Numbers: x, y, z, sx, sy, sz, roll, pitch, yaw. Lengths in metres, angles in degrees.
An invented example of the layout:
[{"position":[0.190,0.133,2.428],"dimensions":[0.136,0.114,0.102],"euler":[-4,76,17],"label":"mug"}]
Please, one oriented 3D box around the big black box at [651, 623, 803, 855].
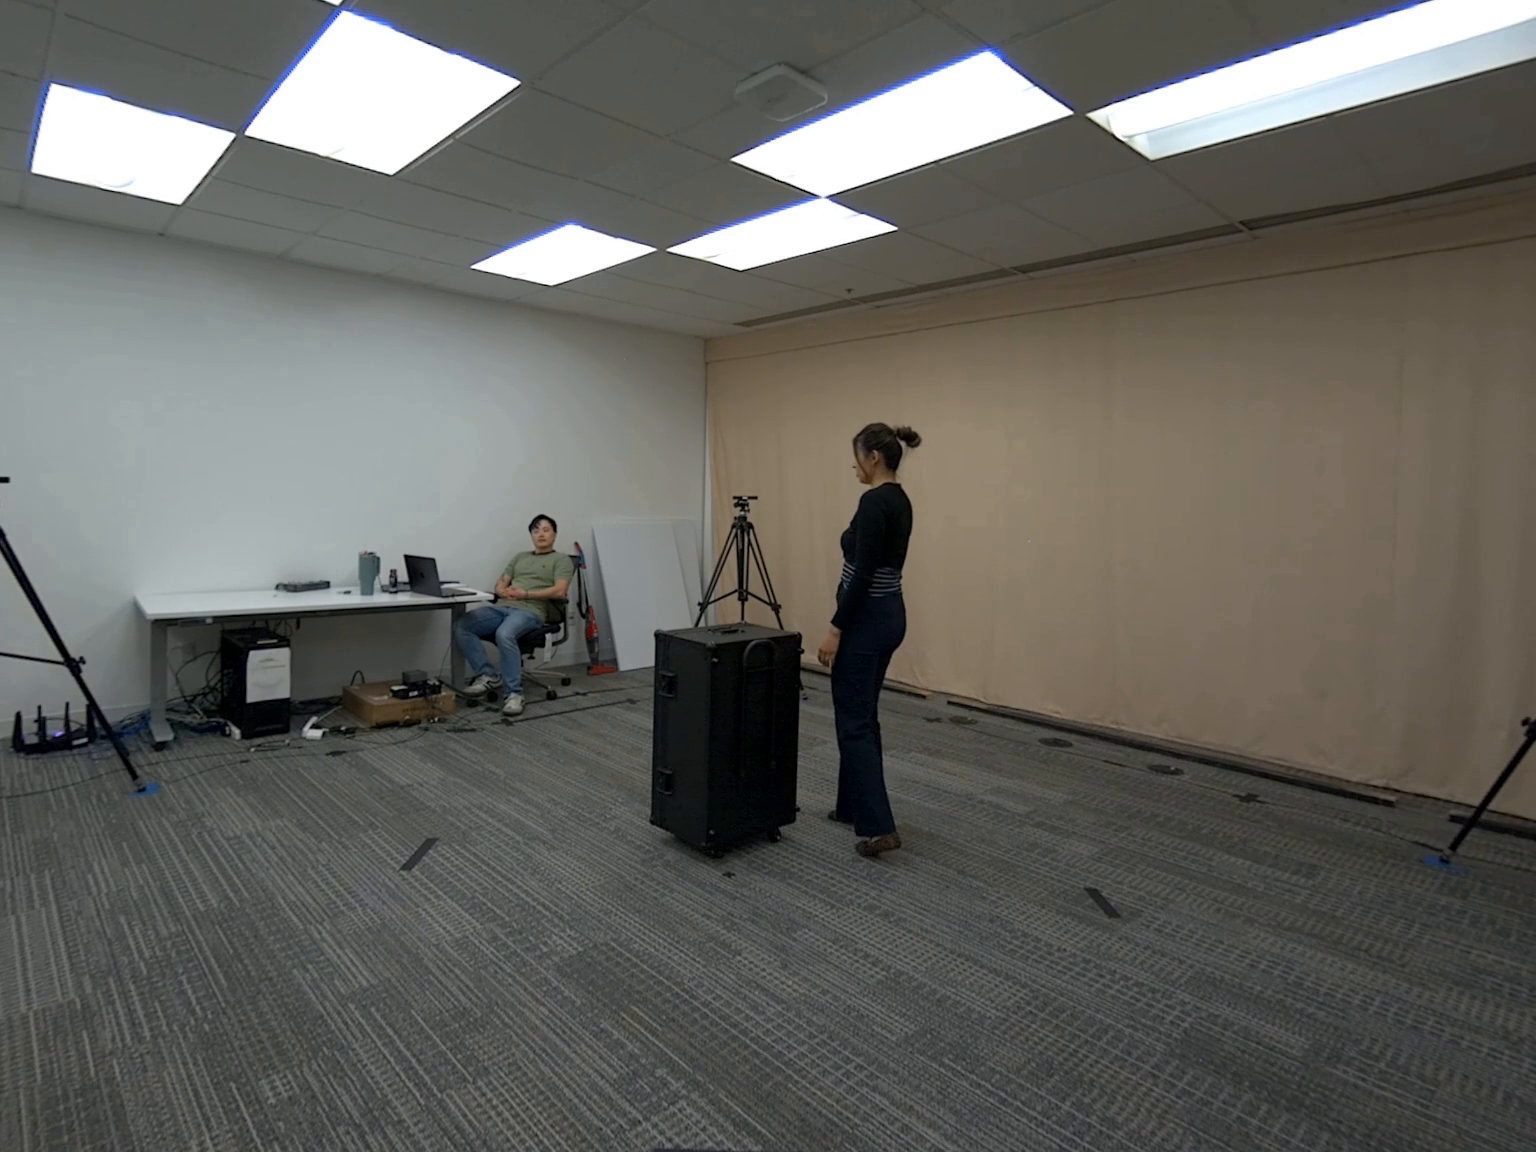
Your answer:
[{"position":[-0.170,0.599,3.381],"dimensions":[0.509,0.859,0.406],"euler":[-1,5,-42],"label":"big black box"}]
